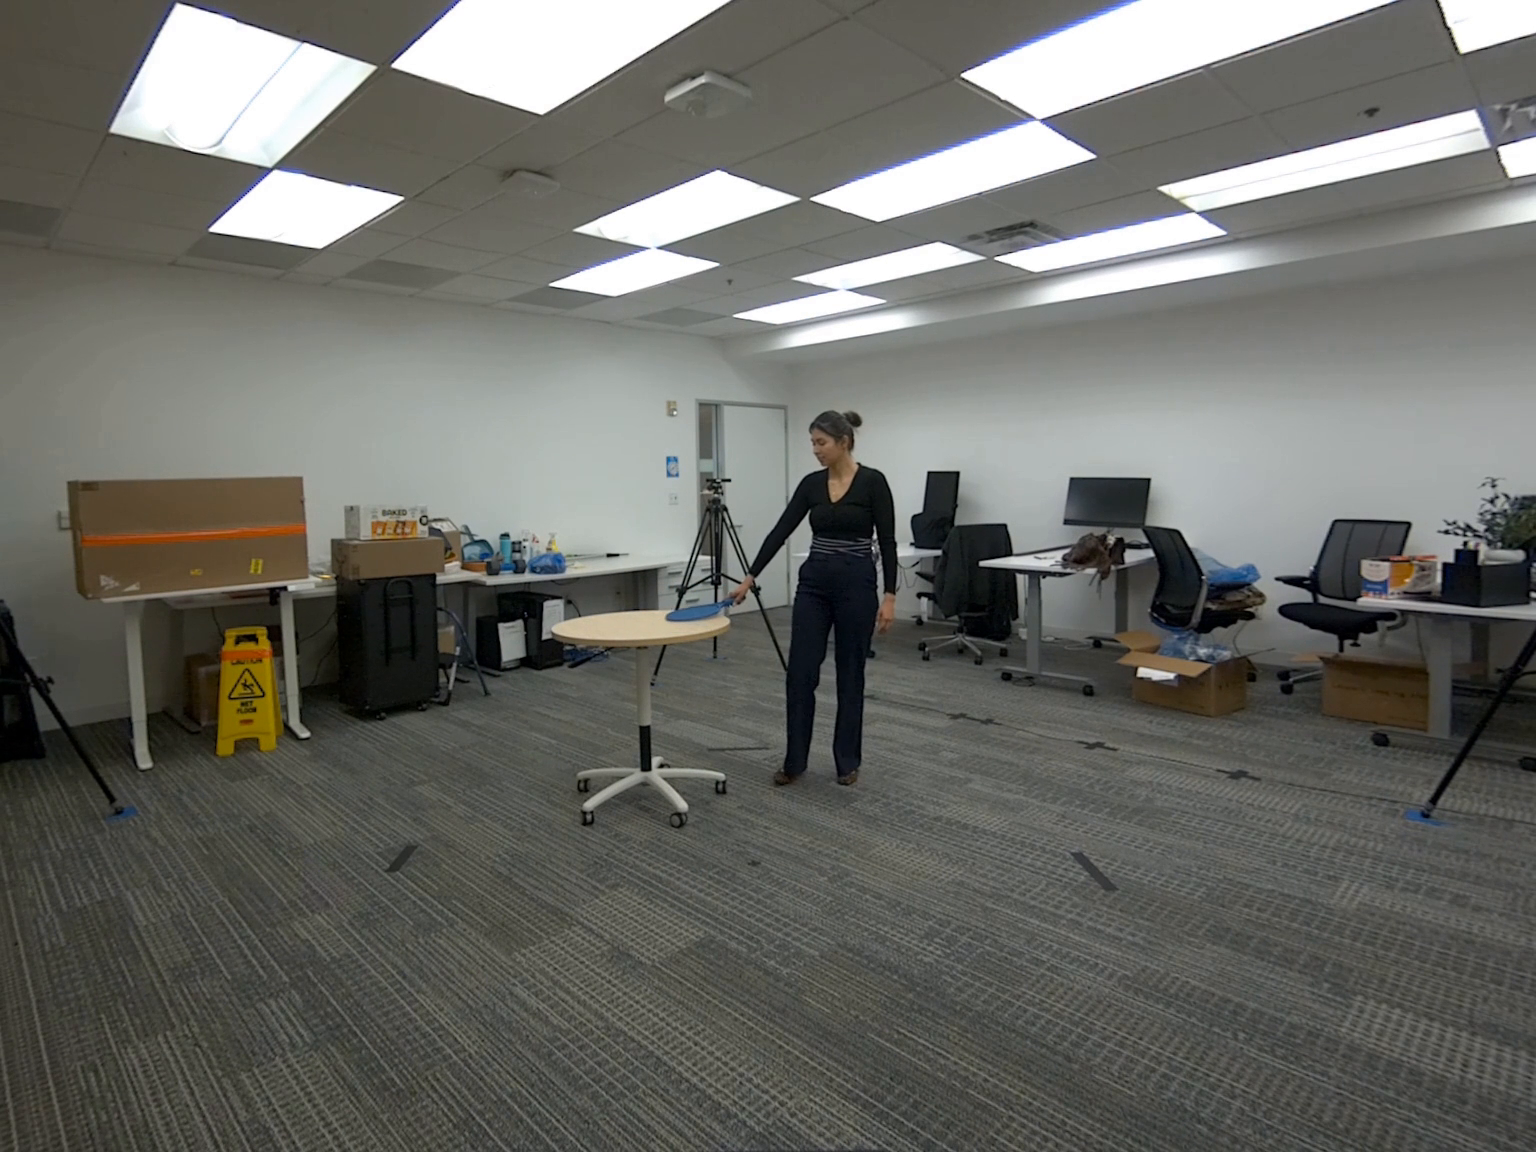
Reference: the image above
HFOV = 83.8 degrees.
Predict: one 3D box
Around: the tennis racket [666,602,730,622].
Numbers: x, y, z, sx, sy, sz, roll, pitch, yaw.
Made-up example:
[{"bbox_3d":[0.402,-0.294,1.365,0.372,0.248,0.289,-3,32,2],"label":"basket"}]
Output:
[{"bbox_3d":[-0.274,0.152,3.854,0.424,0.031,0.220,-14,14,-36],"label":"tennis racket"}]
